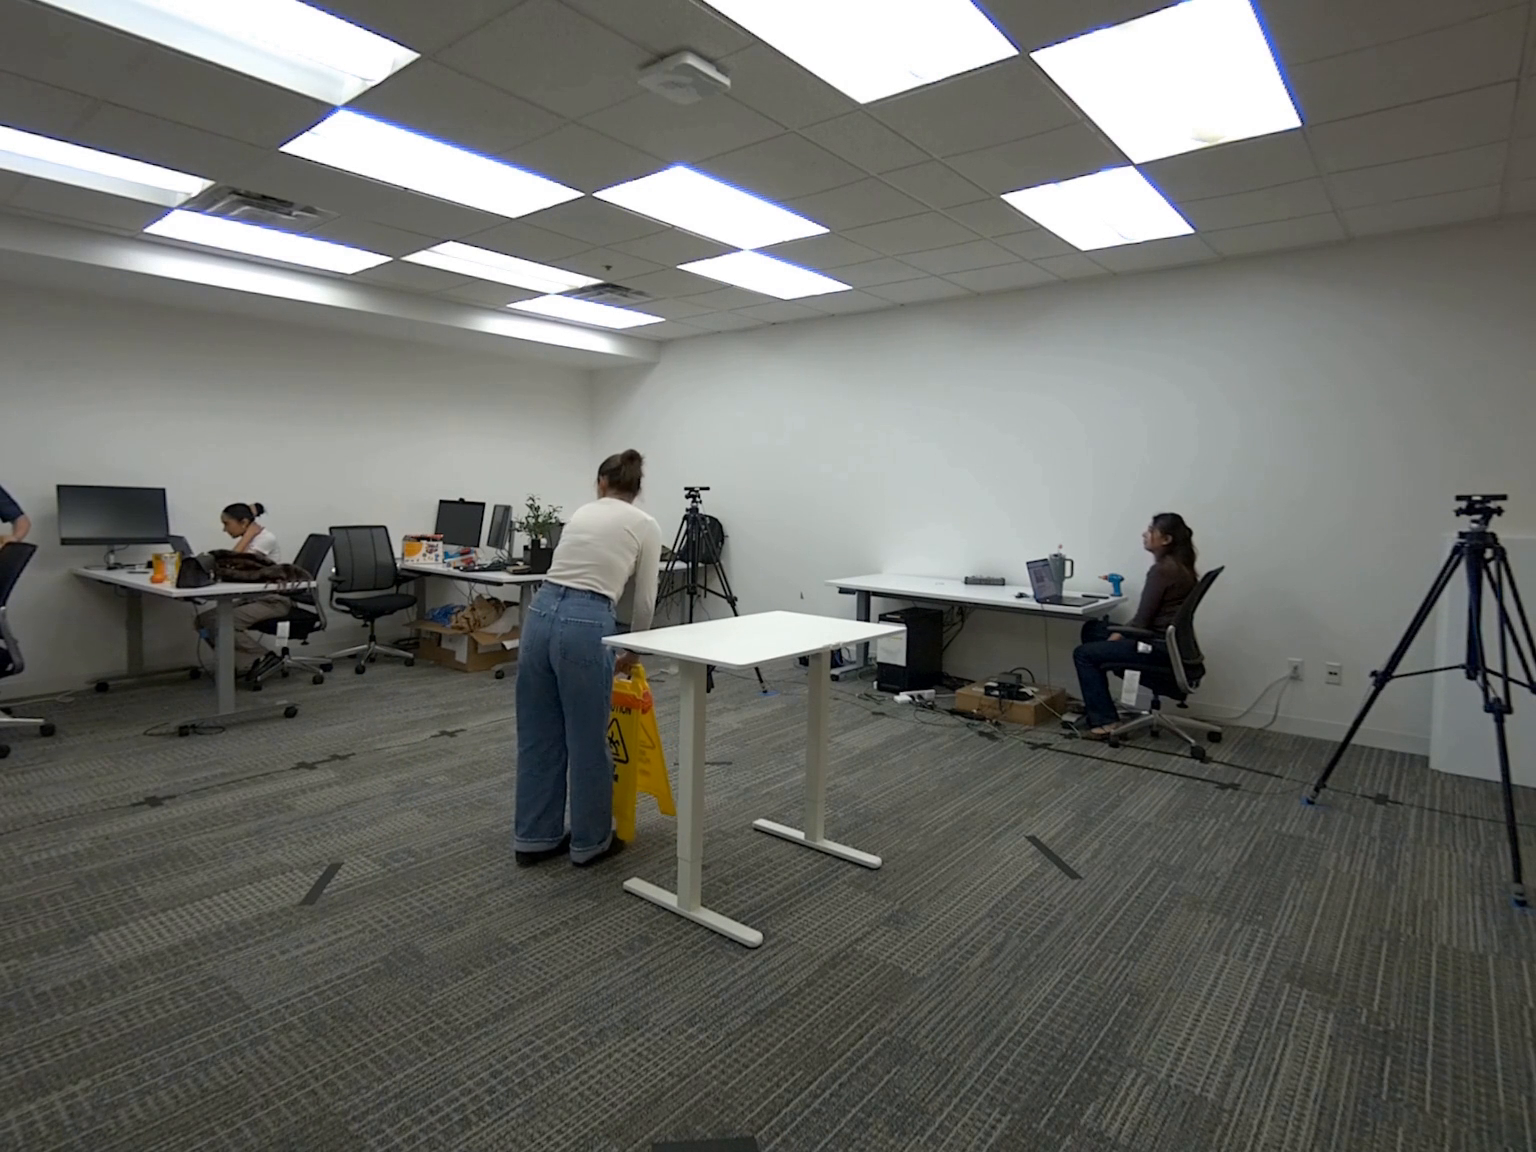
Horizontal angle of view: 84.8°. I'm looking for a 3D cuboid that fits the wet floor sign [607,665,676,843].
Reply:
[{"bbox_3d":[-0.580,0.652,3.356,0.291,0.642,0.283,2,7,33],"label":"wet floor sign"}]
